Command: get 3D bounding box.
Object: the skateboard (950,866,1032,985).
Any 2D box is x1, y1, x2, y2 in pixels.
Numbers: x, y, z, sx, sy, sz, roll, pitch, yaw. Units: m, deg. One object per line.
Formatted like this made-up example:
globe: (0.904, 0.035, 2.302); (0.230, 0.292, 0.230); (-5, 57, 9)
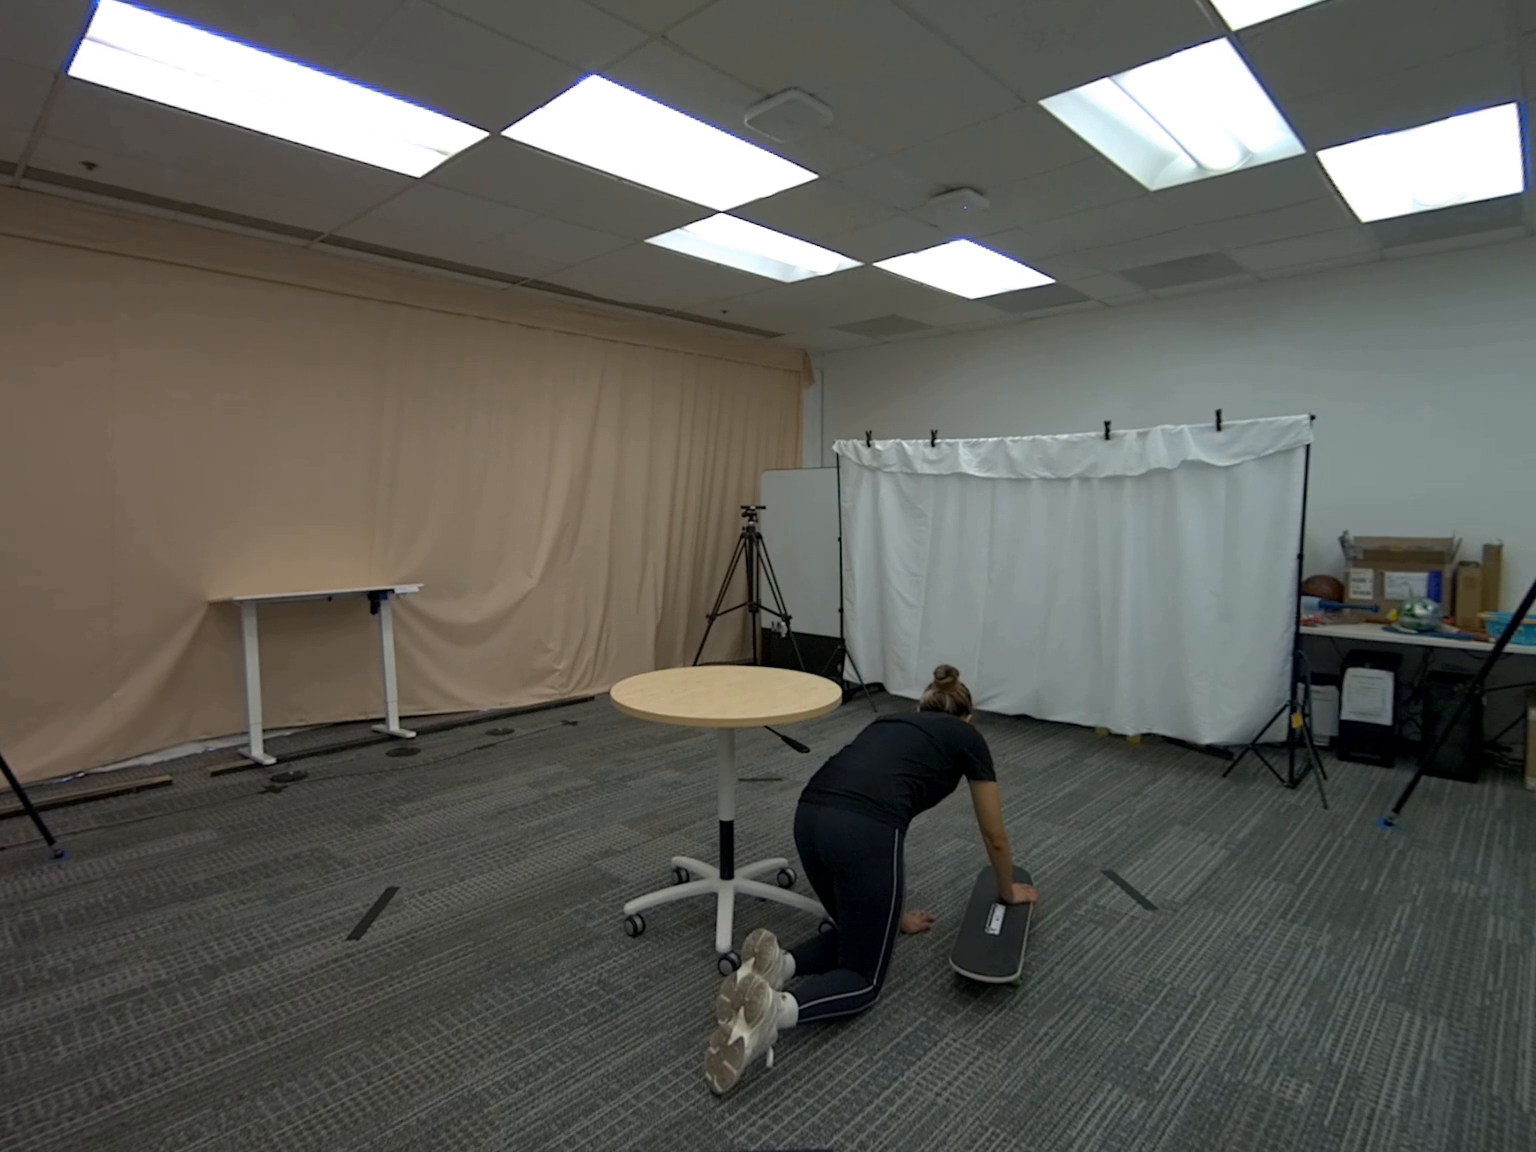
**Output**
skateboard: (0.727, 1.120, 2.640); (0.198, 0.110, 0.769); (2, 5, 22)
